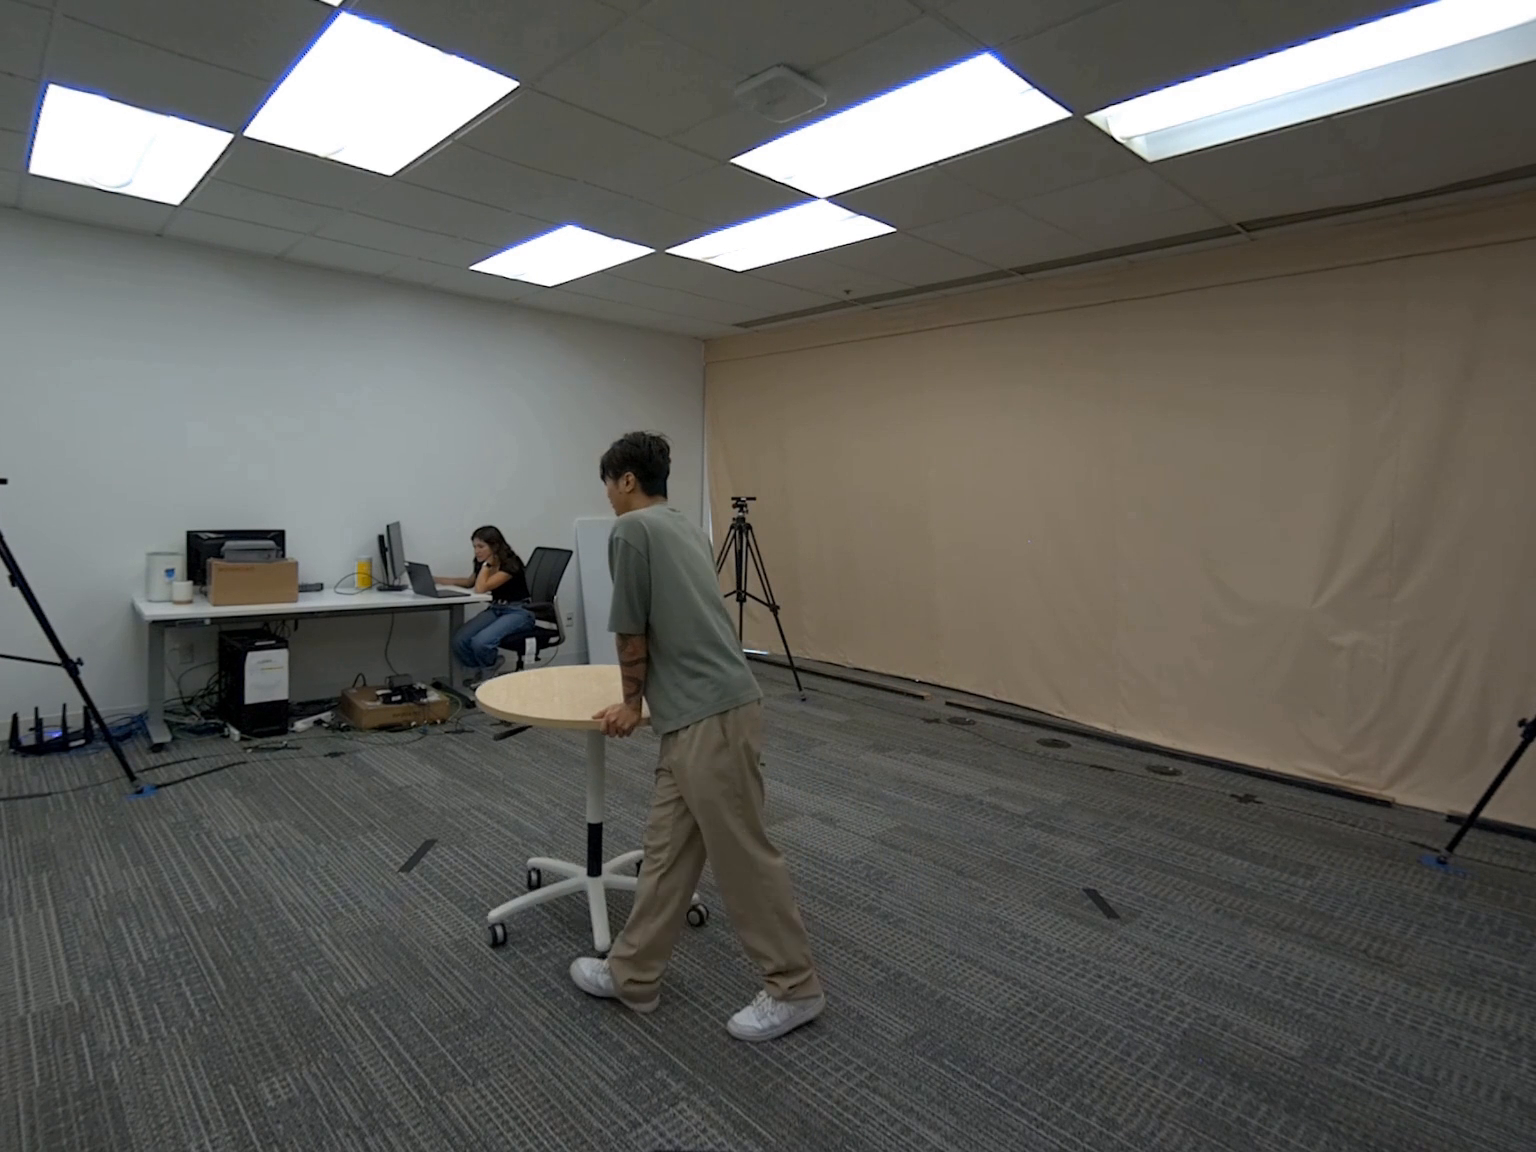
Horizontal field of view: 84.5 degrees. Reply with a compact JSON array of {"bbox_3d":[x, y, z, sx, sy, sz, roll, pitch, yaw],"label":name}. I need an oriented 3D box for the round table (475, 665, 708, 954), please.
[{"bbox_3d":[-0.558,0.748,2.777,0.784,0.784,0.788,2,4,-1],"label":"round table"}]
